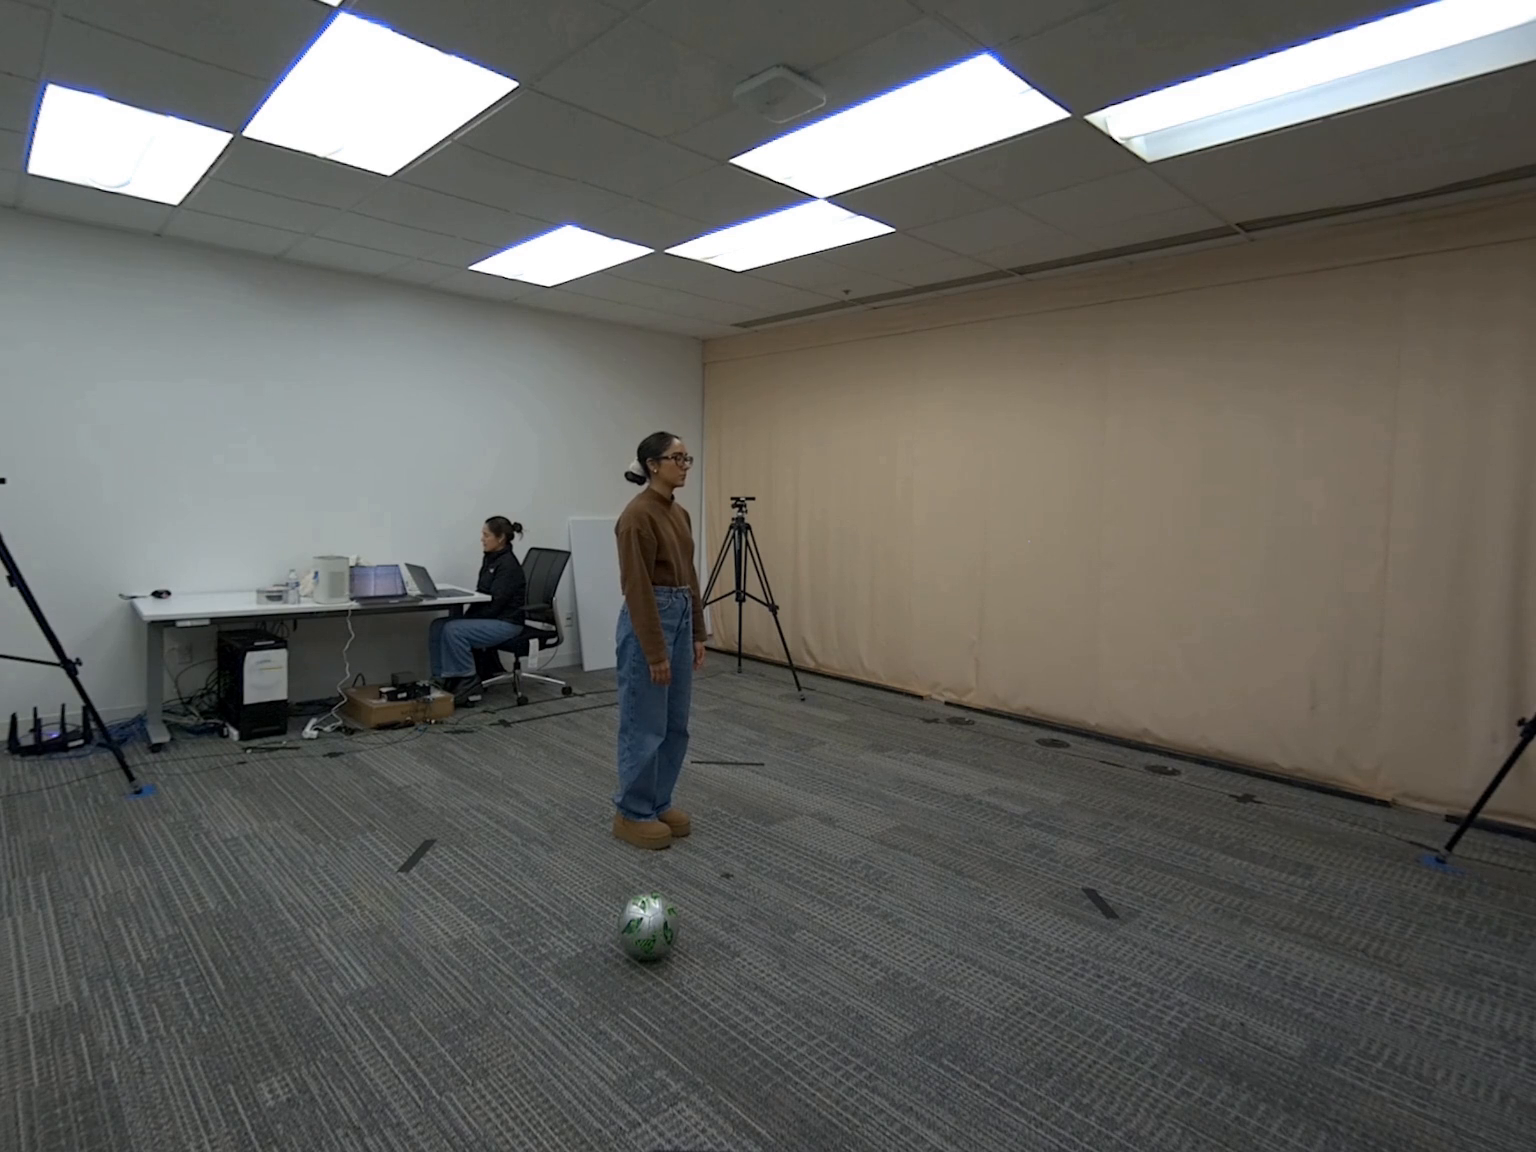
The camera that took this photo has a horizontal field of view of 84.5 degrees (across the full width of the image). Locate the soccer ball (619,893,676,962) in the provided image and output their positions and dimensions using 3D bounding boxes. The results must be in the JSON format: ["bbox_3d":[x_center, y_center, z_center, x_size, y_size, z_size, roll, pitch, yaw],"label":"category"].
[{"bbox_3d":[-0.364,1.063,2.538,0.187,0.187,0.188,1,4,-1],"label":"soccer ball"}]
